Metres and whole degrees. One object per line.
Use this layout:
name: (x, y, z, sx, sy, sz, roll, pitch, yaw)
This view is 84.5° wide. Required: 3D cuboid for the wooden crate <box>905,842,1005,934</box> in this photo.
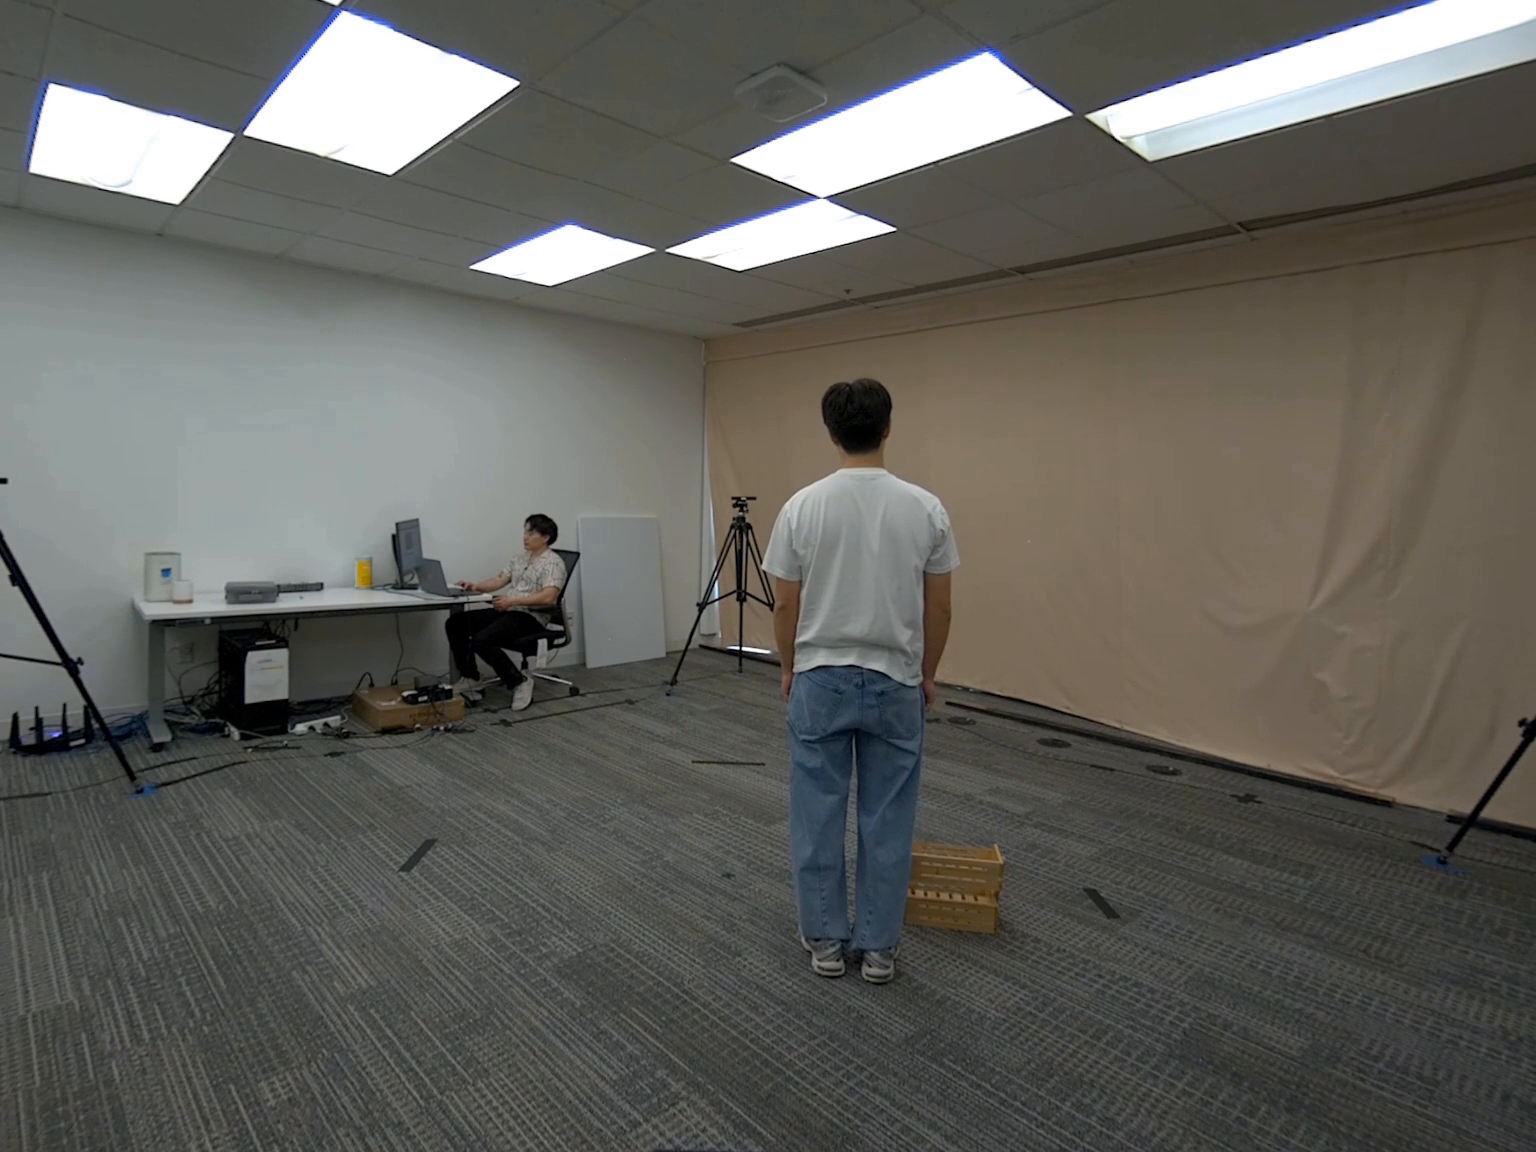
wooden crate: (0.615, 1.018, 2.847, 0.327, 0.272, 0.301, 2, 5, 8)
